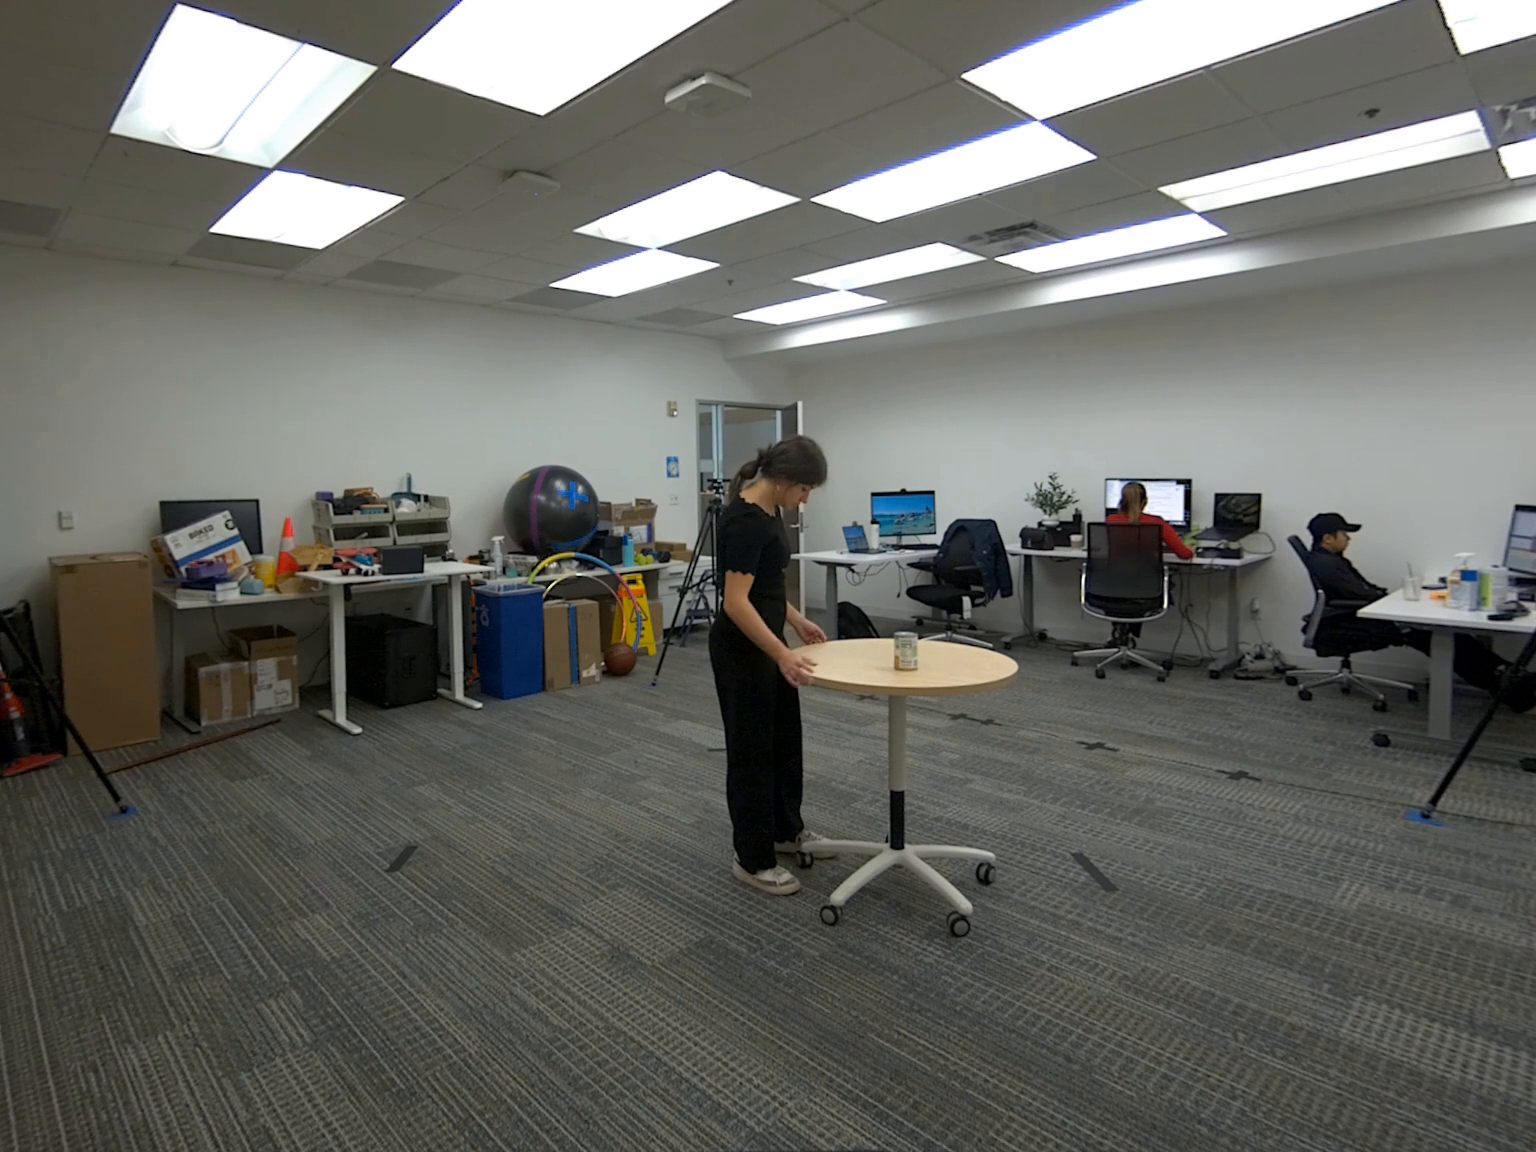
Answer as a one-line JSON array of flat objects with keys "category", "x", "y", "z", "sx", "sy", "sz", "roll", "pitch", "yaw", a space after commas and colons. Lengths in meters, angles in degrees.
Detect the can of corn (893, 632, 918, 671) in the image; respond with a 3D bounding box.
[{"category": "can of corn", "x": 0.441, "y": 0.242, "z": 2.707, "sx": 0.074, "sy": 0.110, "sz": 0.074, "roll": -1, "pitch": 5, "yaw": -2}]
